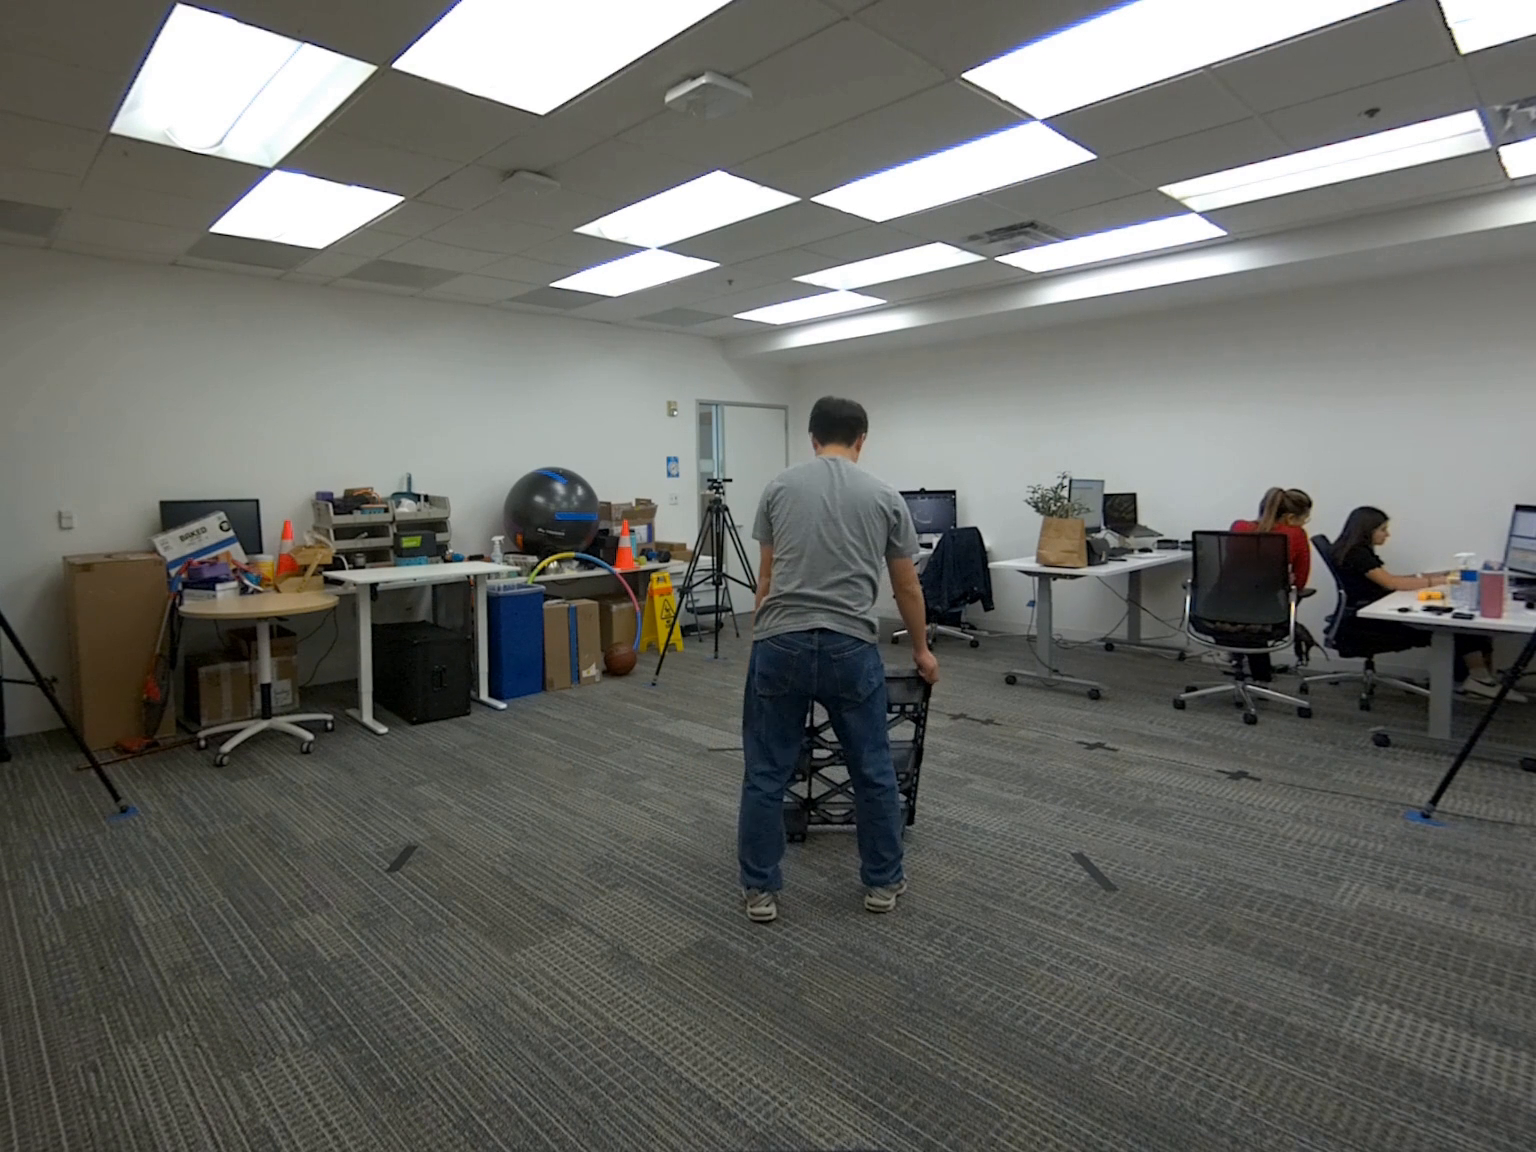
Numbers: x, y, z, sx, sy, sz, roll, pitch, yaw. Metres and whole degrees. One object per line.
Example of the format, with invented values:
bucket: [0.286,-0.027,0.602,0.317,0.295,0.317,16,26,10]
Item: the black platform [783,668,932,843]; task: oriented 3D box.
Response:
black platform: [0.274,0.686,3.137,0.606,0.785,0.147,1,34,2]
